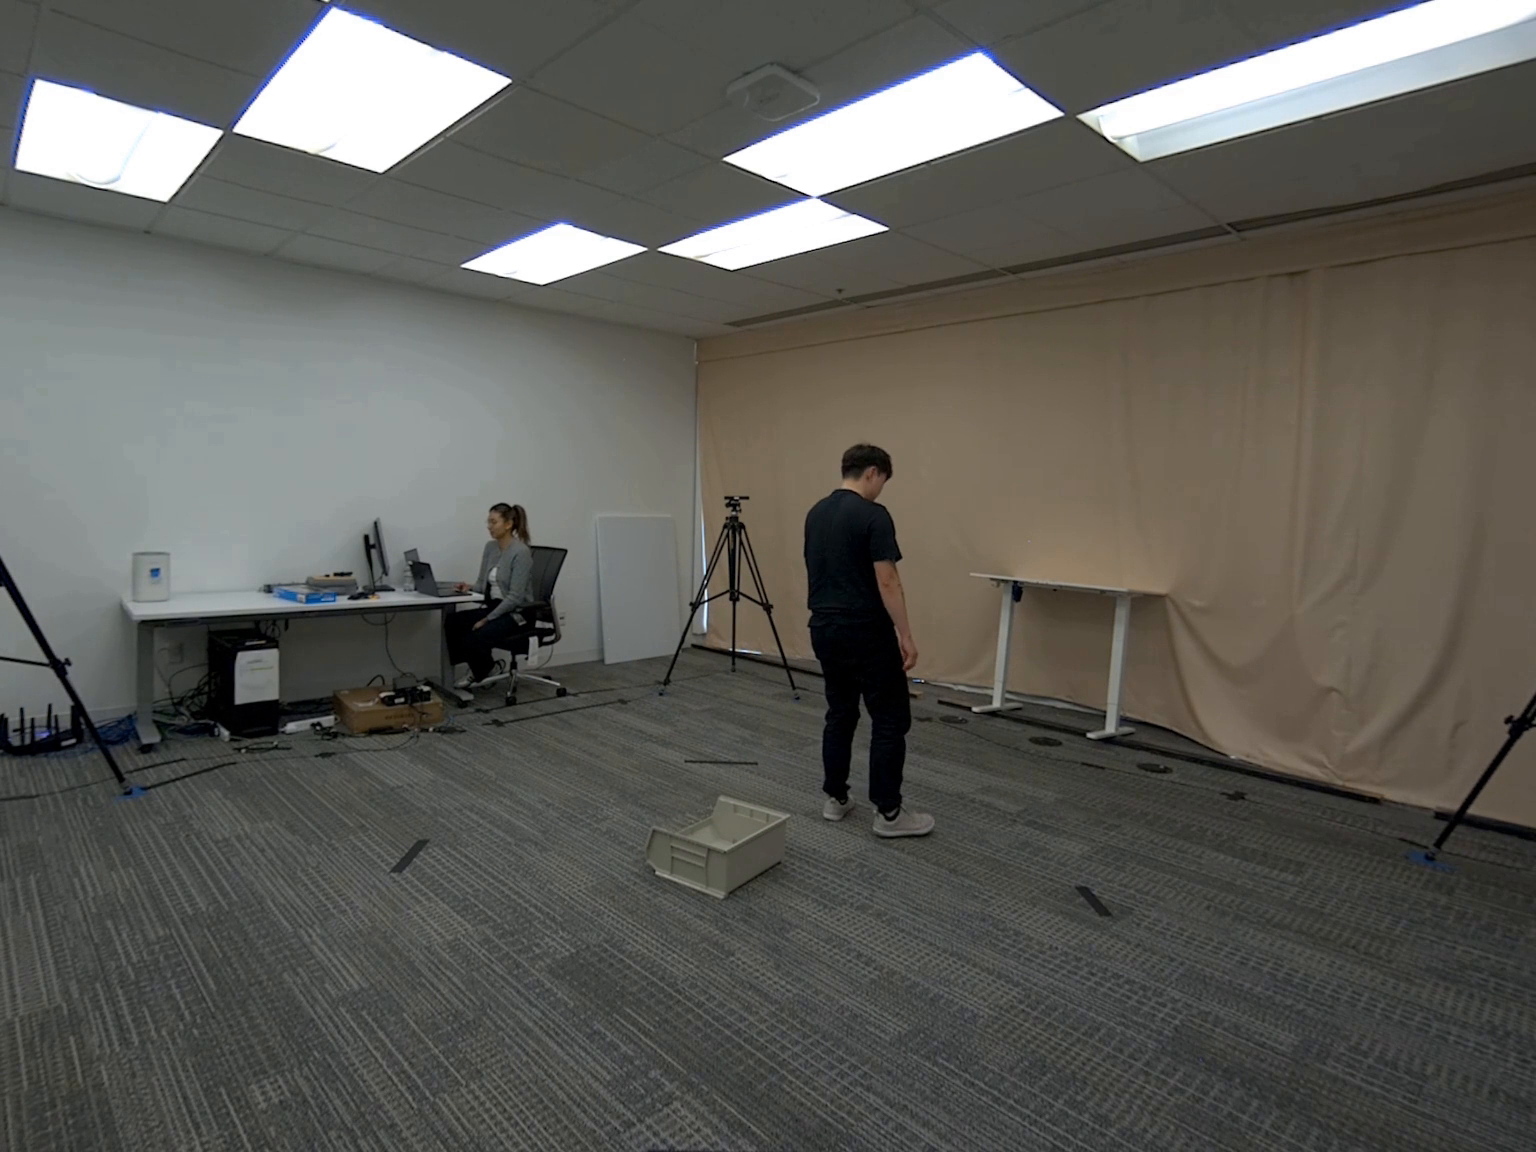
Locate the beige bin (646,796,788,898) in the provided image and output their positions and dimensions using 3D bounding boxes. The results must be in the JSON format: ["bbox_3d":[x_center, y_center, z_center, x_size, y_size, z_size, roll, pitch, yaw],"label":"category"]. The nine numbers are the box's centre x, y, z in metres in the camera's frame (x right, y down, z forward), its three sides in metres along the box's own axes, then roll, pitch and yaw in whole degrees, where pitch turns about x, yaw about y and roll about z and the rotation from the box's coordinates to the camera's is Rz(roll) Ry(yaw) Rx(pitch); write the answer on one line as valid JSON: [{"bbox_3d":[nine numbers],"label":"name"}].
[{"bbox_3d":[-0.193,1.010,3.176,0.386,0.188,0.413,5,6,35],"label":"beige bin"}]
